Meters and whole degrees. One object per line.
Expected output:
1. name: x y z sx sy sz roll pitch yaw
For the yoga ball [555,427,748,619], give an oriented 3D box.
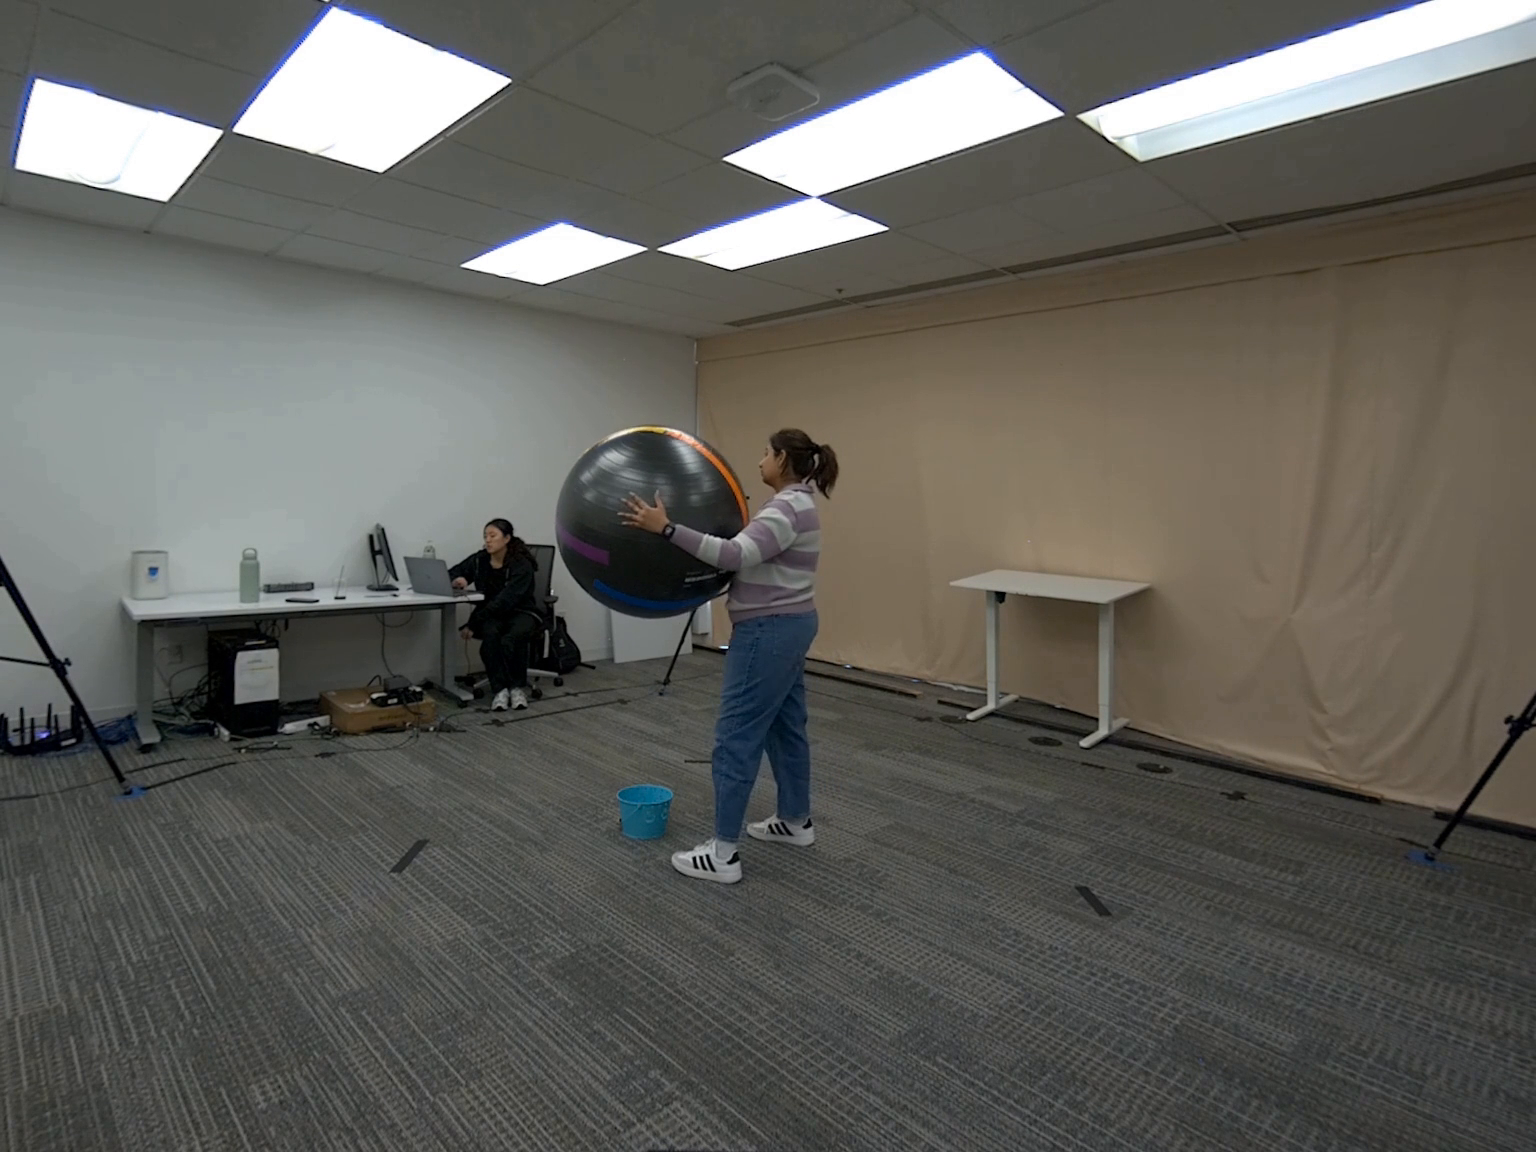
1. yoga ball: -0.475 -0.214 3.333 0.757 0.756 0.761 1 4 -1
